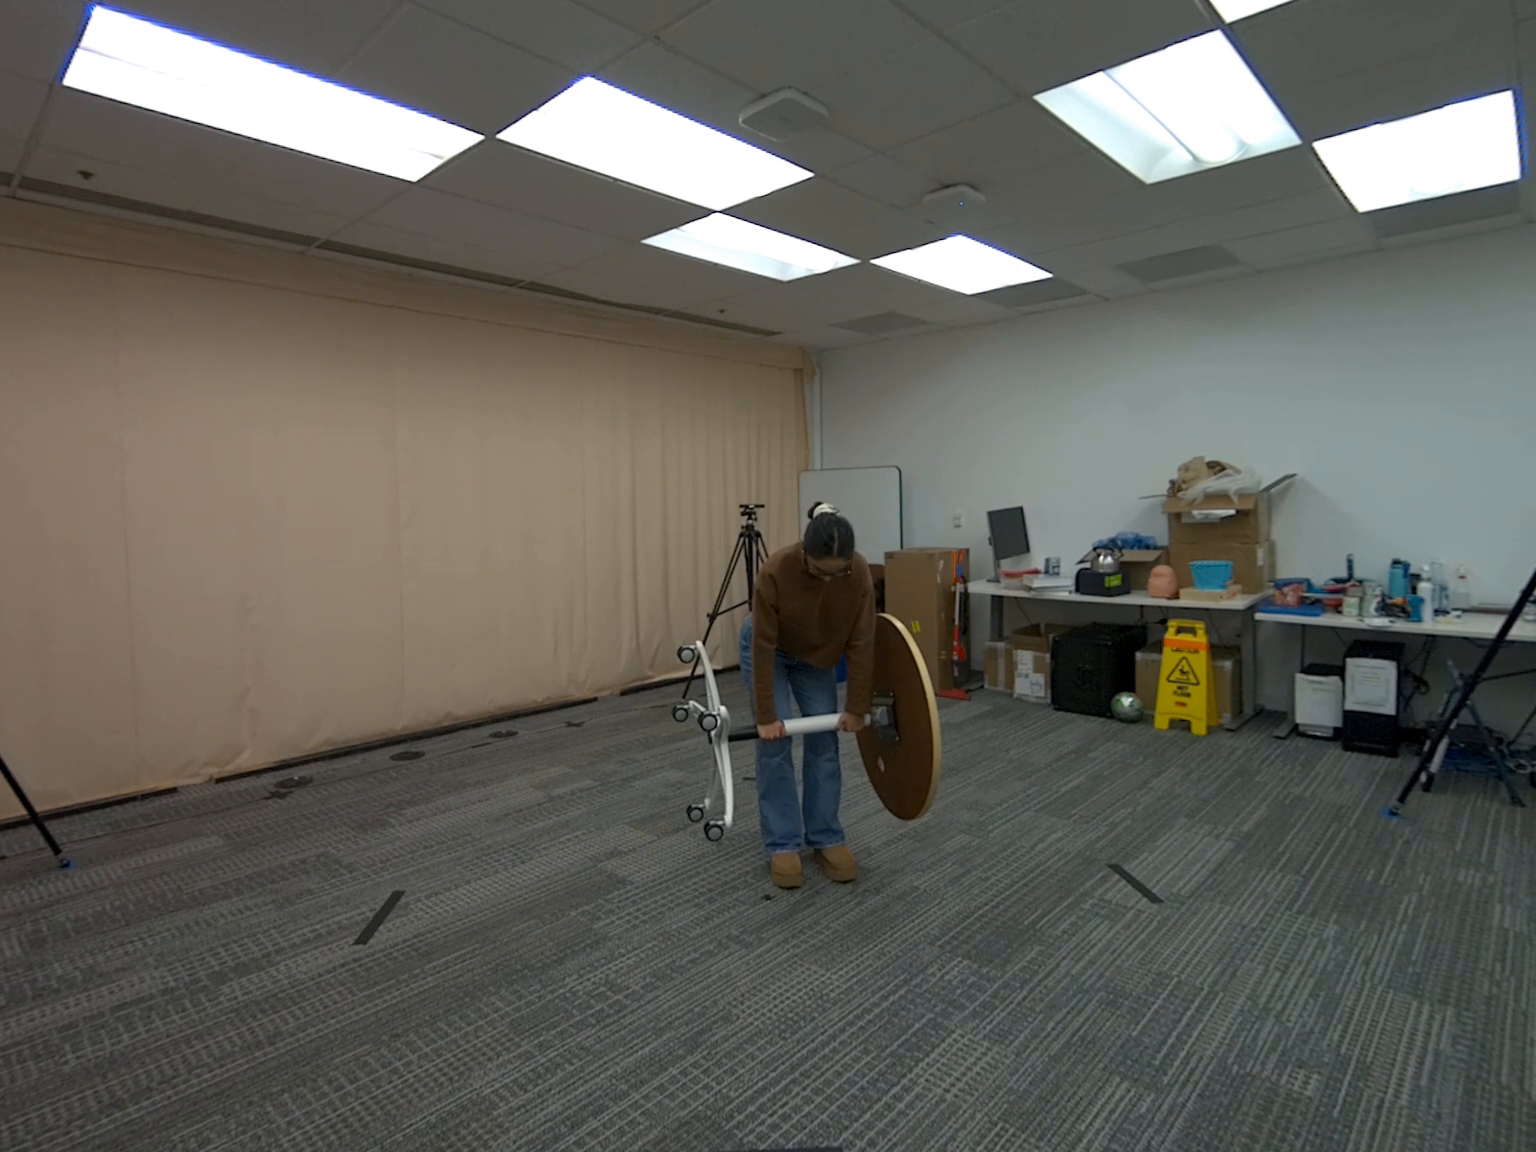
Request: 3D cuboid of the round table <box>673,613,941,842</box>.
[{"bbox_3d":[0.092,0.571,3.115,0.784,0.761,0.776,-6,5,-13],"label":"round table"}]
